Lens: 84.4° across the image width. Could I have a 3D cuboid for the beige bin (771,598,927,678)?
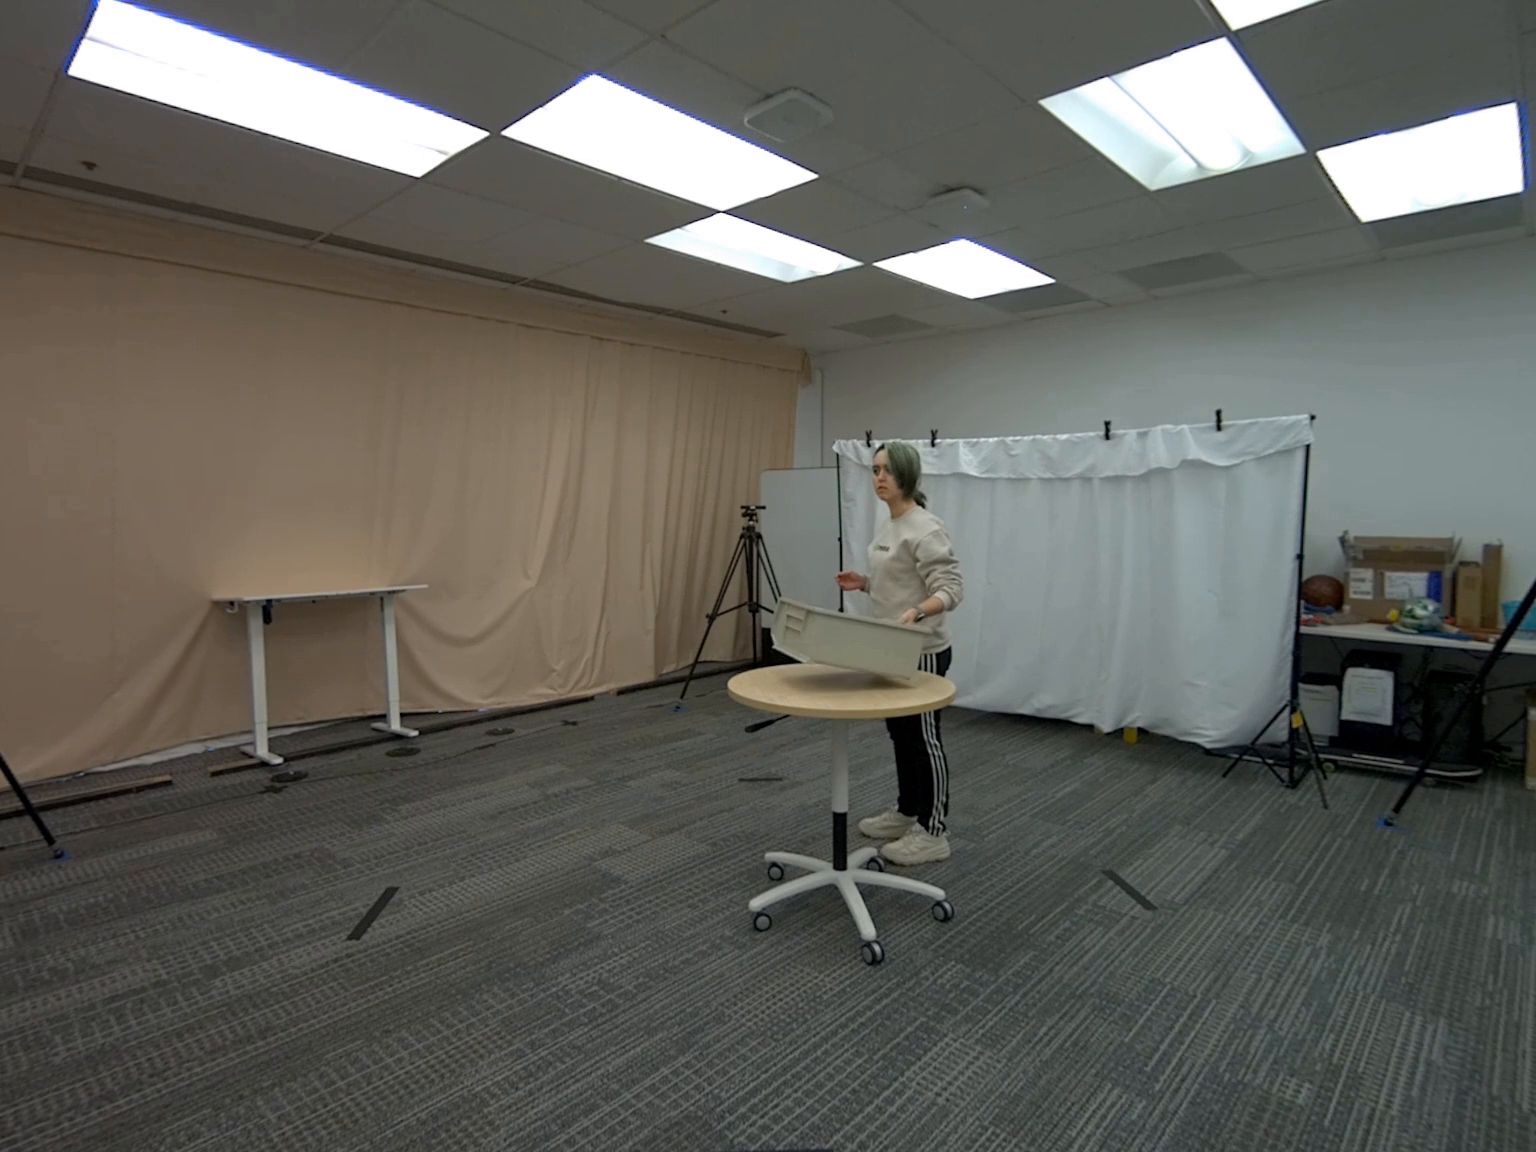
[{"bbox_3d":[0.269,0.213,2.881,0.415,0.189,0.384,12,1,-16],"label":"beige bin"}]
